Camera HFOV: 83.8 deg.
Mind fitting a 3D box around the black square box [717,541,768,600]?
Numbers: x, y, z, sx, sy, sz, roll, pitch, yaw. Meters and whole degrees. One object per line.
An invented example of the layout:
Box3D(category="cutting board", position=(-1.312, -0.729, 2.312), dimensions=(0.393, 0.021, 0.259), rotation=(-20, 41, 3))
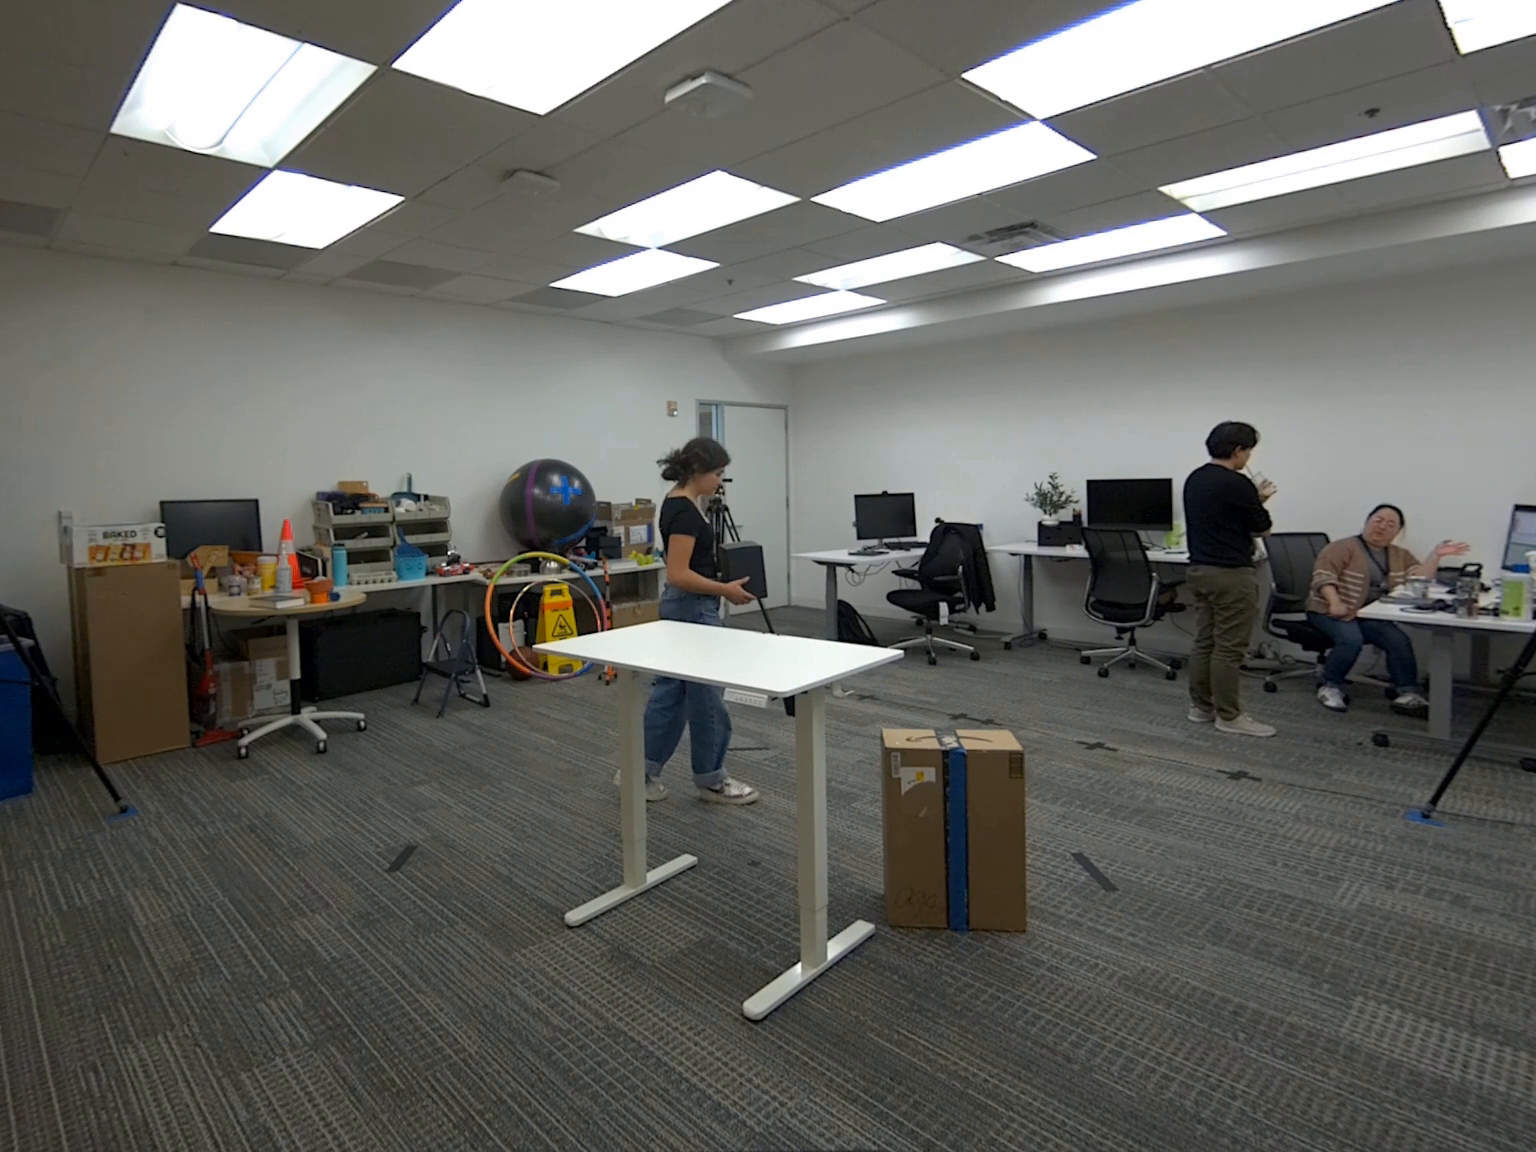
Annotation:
Box3D(category="black square box", position=(-0.127, -0.028, 3.715), dimensions=(0.155, 0.226, 0.220), rotation=(-7, 7, -8))
